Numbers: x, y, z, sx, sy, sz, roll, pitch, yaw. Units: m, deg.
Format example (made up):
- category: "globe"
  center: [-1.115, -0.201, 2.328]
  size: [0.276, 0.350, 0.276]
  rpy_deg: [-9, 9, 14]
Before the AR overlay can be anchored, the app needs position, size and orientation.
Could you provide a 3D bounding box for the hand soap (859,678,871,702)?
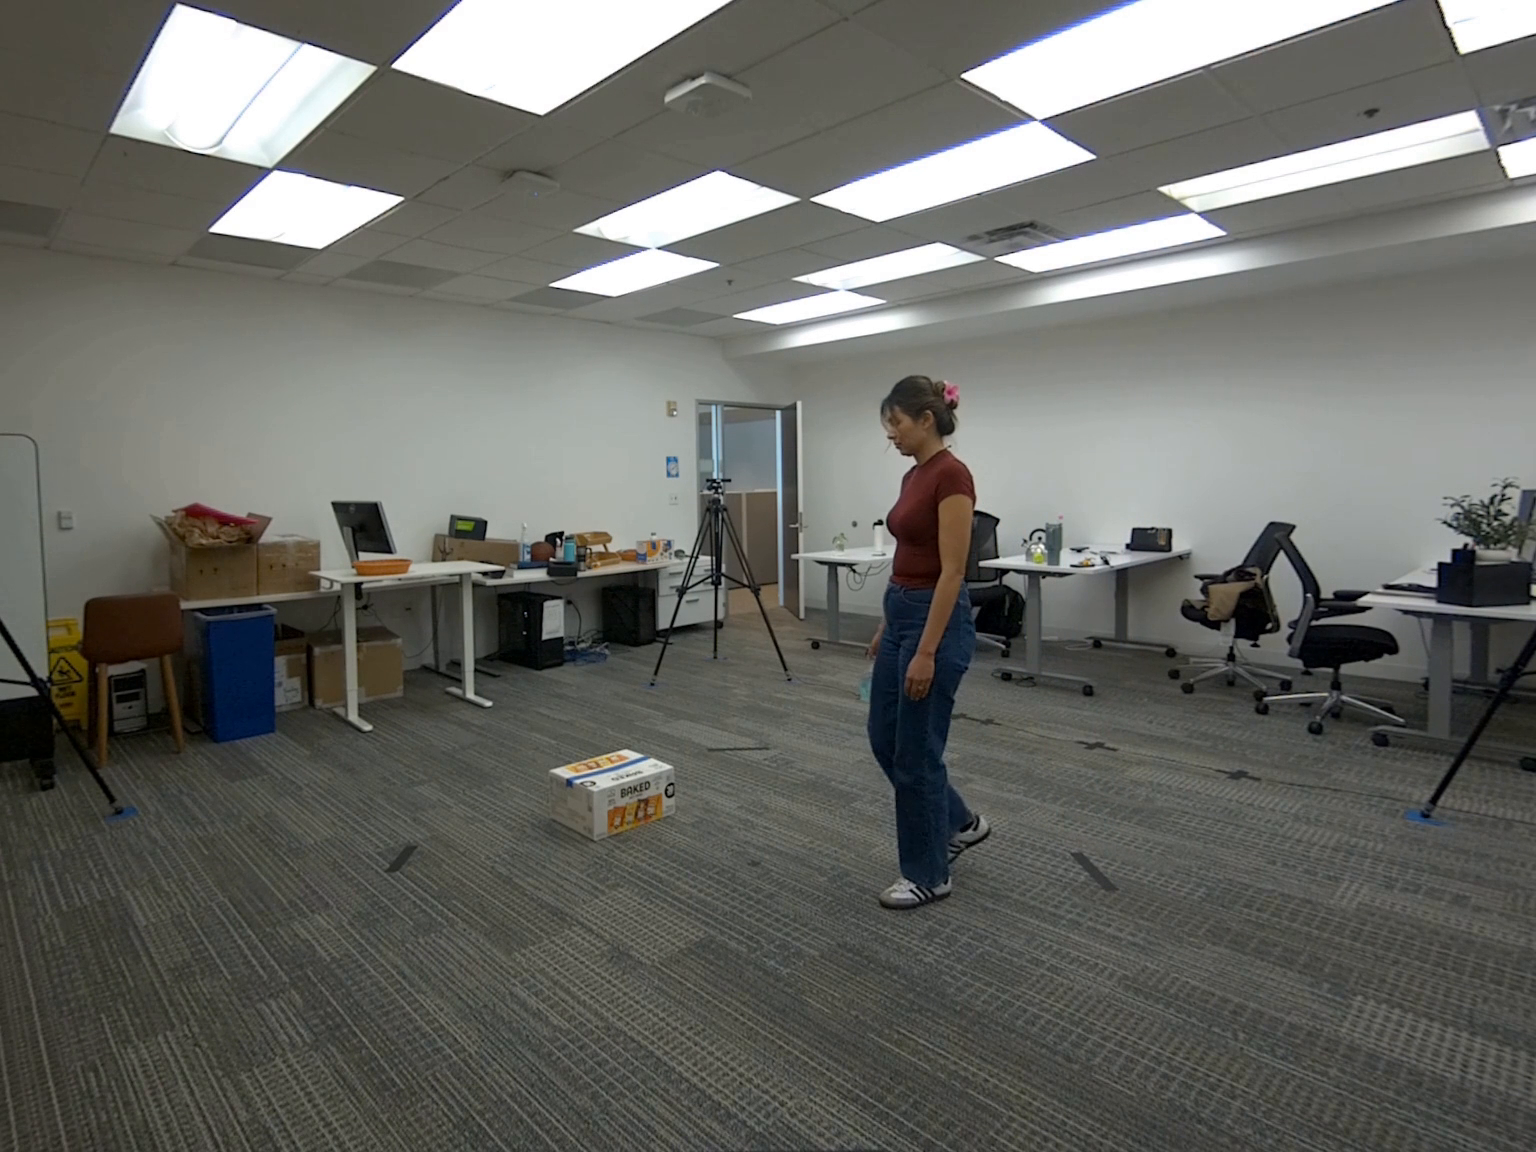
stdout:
- category: "hand soap"
  center: [0.396, 0.370, 3.101]
  size: [0.086, 0.168, 0.042]
  rpy_deg: [7, 0, 16]
